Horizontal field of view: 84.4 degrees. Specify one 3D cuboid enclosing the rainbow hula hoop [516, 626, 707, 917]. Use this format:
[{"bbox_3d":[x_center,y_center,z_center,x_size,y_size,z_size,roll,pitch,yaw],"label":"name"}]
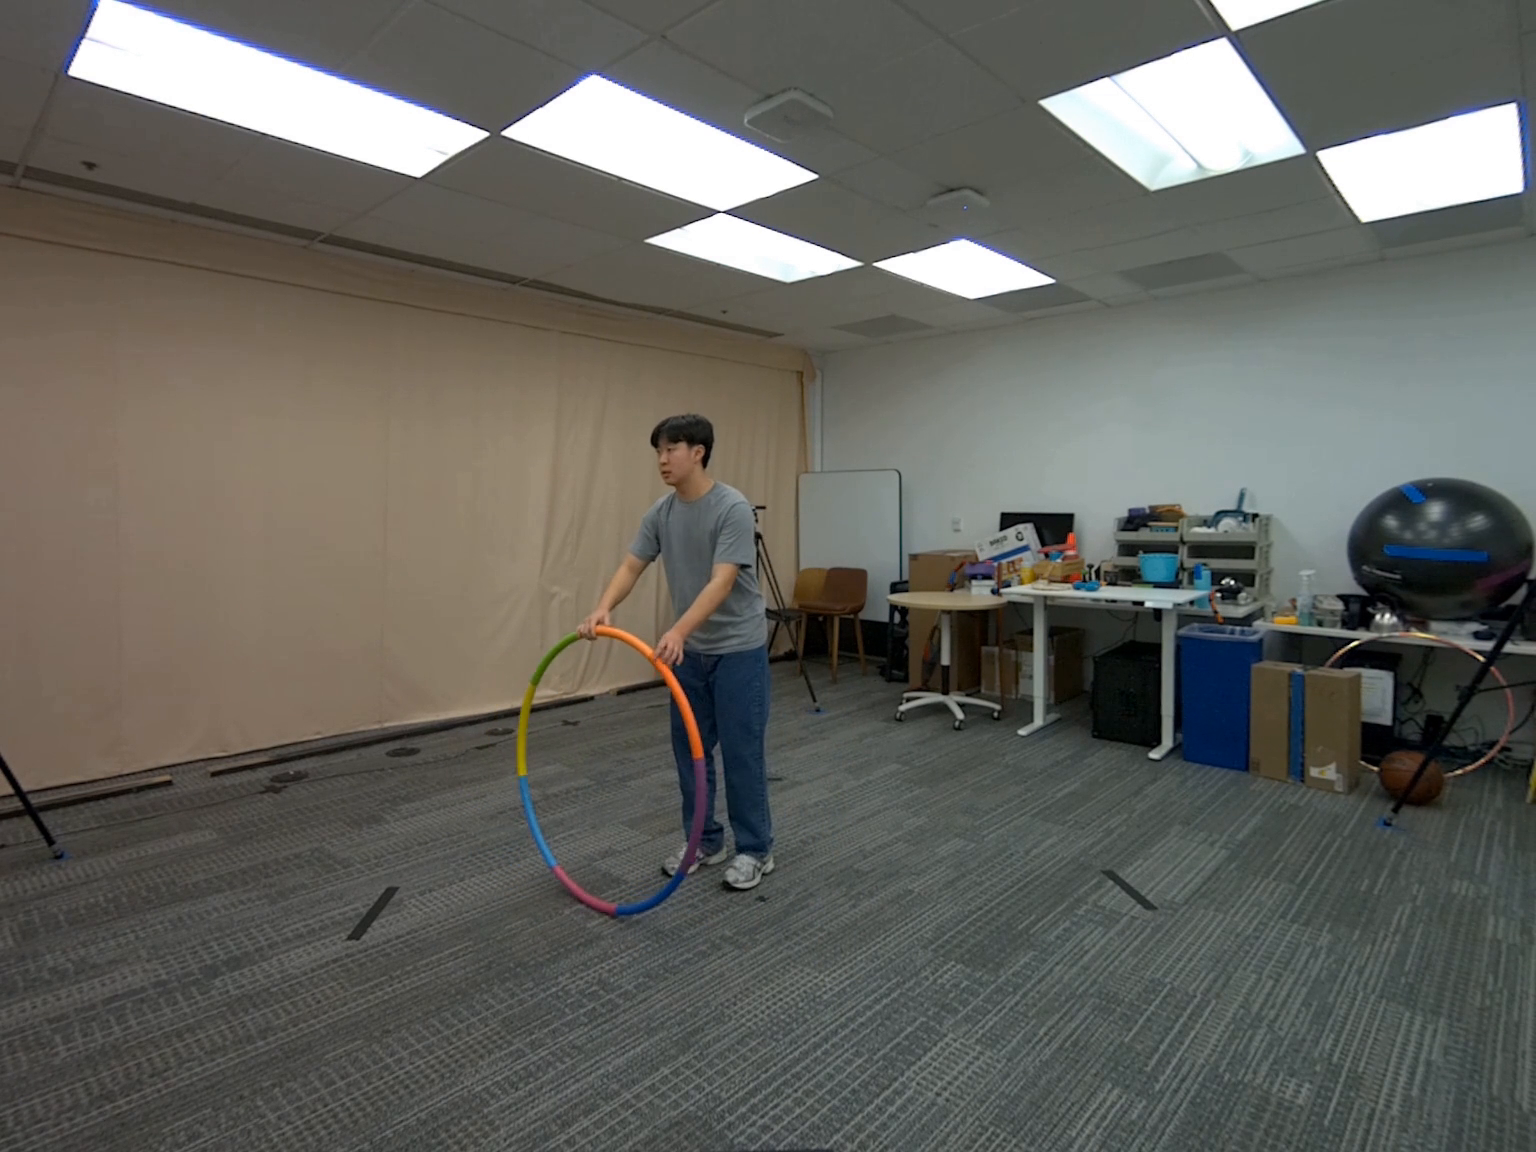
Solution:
[{"bbox_3d":[-0.576,0.665,2.934,1.011,0.979,0.034,3,-1,41],"label":"rainbow hula hoop"}]
